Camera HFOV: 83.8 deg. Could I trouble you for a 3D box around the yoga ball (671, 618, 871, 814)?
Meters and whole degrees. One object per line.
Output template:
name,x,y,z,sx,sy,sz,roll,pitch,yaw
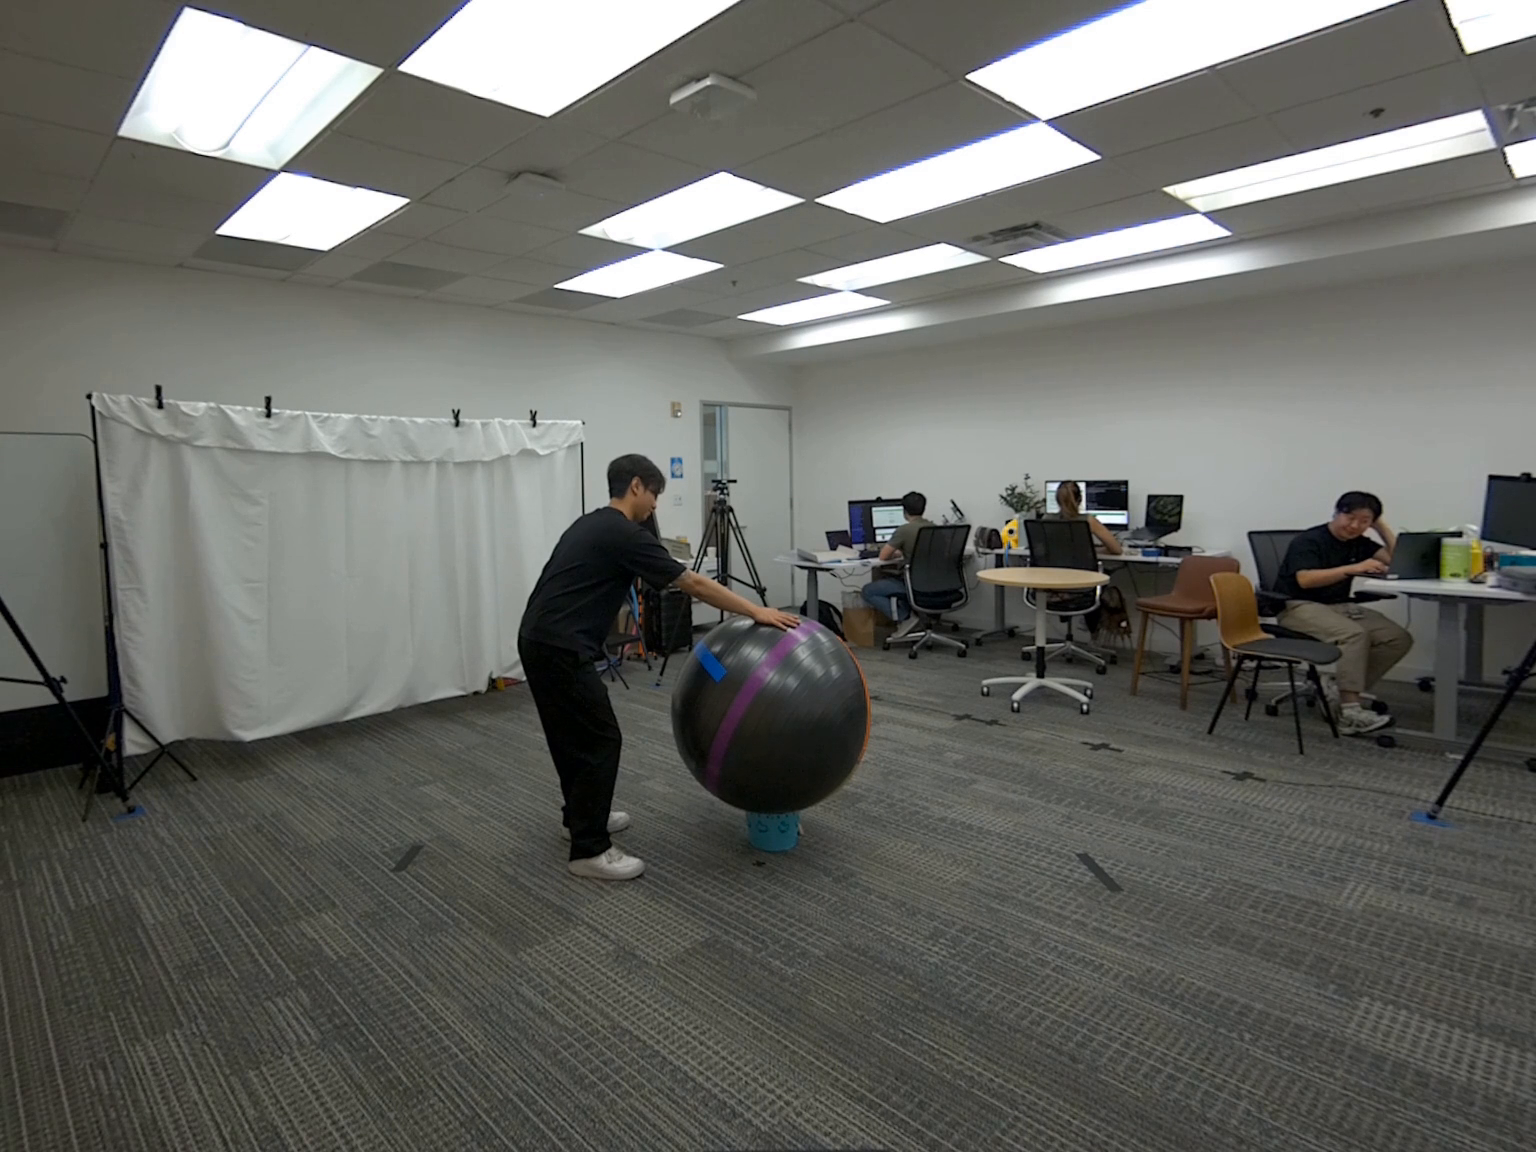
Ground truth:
yoga ball,0.018,0.519,3.276,0.757,0.755,0.762,-1,5,-2
